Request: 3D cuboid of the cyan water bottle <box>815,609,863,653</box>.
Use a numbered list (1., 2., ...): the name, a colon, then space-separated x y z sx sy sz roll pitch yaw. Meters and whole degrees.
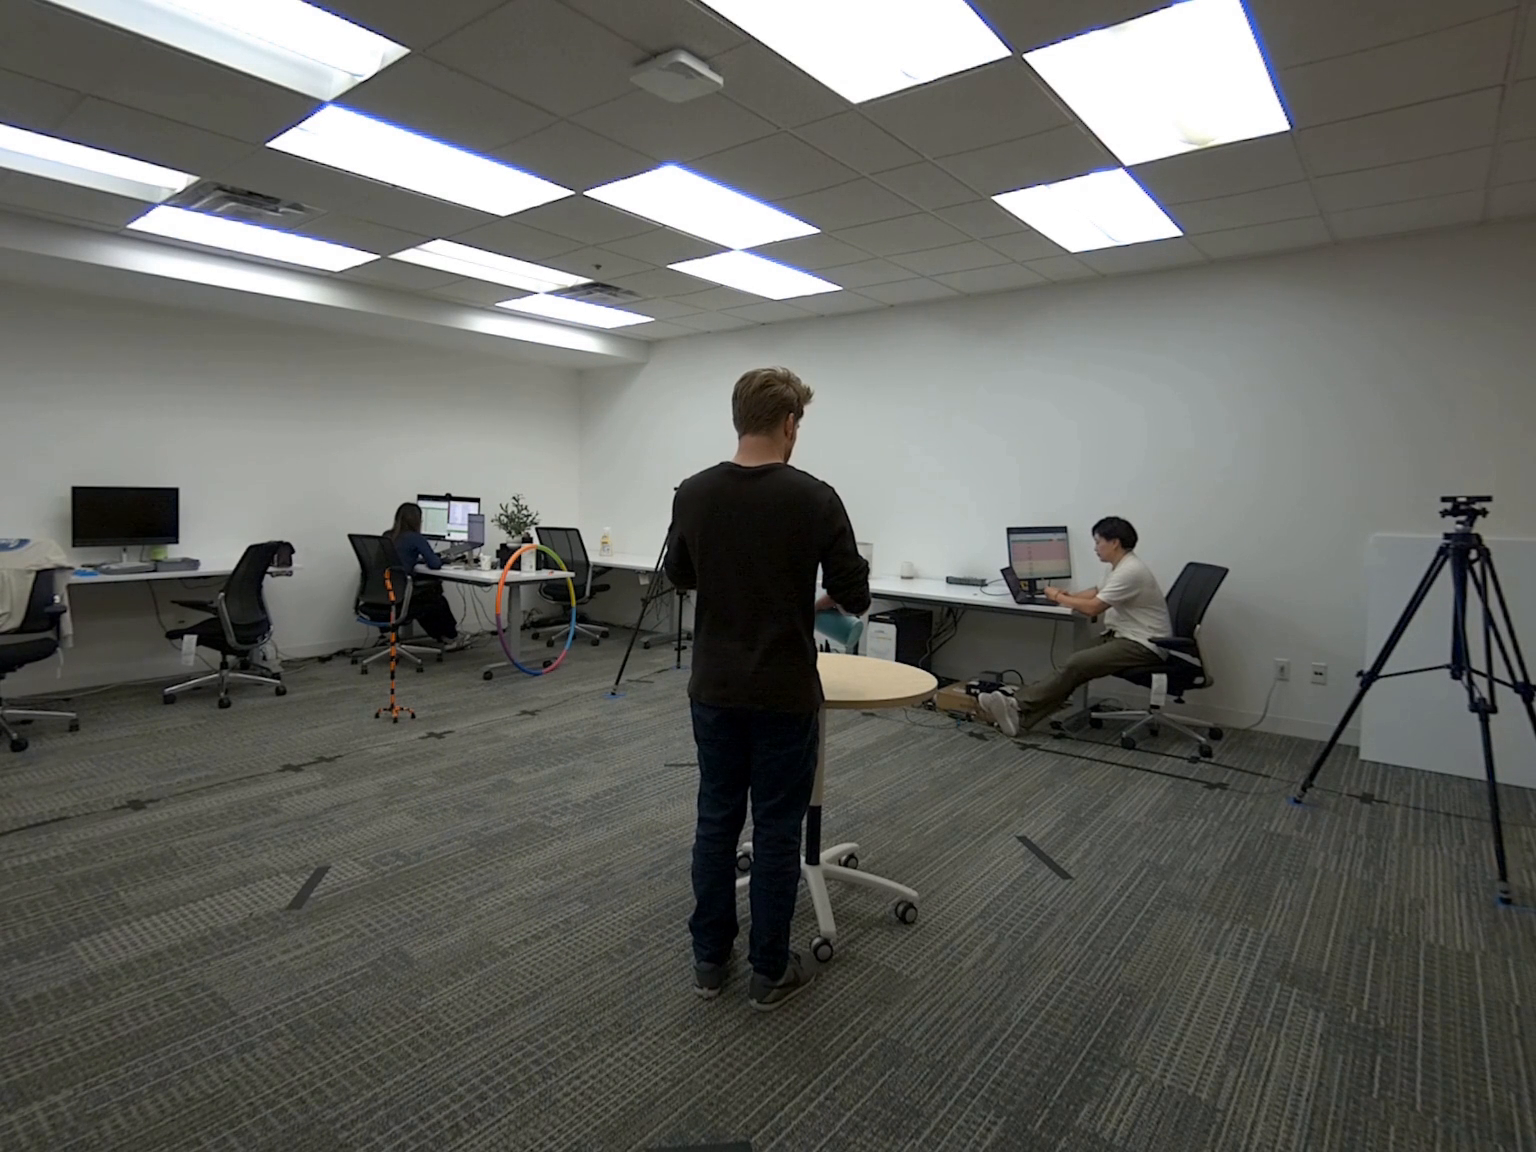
1. cyan water bottle: 0.150 0.119 2.587 0.294 0.091 0.090 27 18 32
